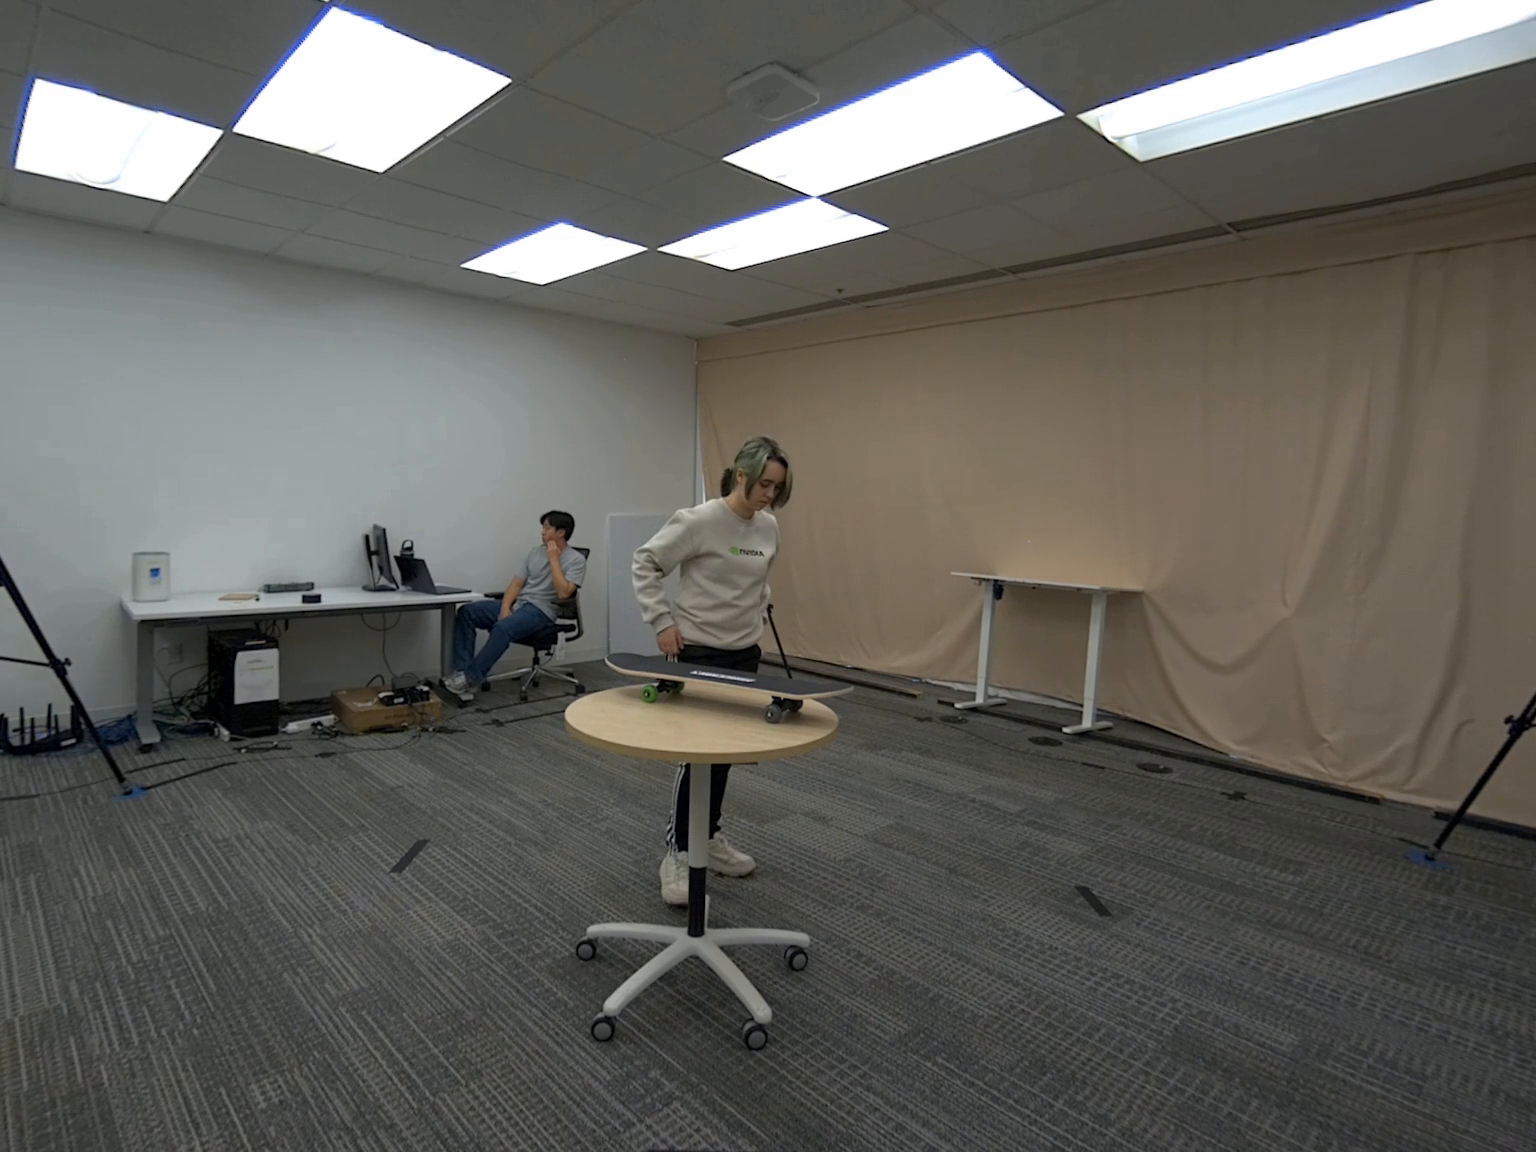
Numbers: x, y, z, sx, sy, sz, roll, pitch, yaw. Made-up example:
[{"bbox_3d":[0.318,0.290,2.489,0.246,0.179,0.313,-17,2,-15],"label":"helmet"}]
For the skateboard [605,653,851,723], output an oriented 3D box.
[{"bbox_3d":[-0.147,0.333,2.441,0.802,0.110,0.190,5,4,27],"label":"skateboard"}]
